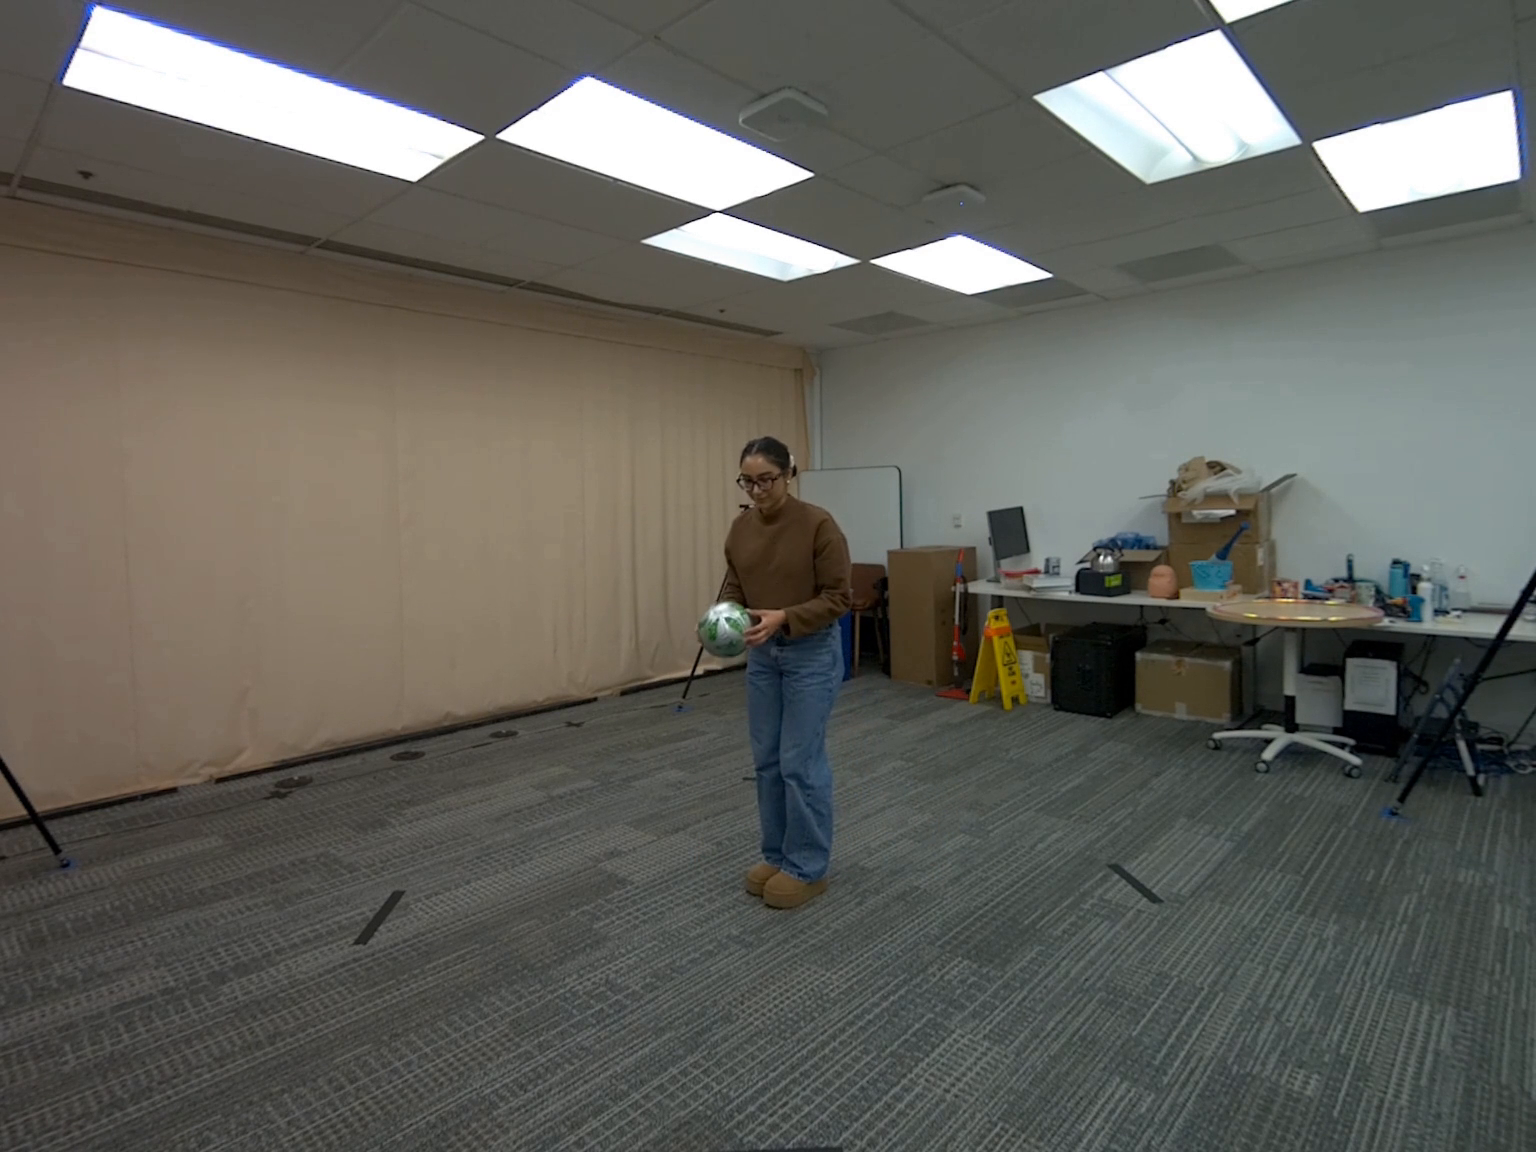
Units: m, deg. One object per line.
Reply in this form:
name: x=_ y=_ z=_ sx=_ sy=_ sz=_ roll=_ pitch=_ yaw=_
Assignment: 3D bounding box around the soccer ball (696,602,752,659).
soccer ball: x=-0.137 y=0.182 z=2.776 sx=0.187 sy=0.187 sz=0.188 roll=-1 pitch=4 yaw=-2
